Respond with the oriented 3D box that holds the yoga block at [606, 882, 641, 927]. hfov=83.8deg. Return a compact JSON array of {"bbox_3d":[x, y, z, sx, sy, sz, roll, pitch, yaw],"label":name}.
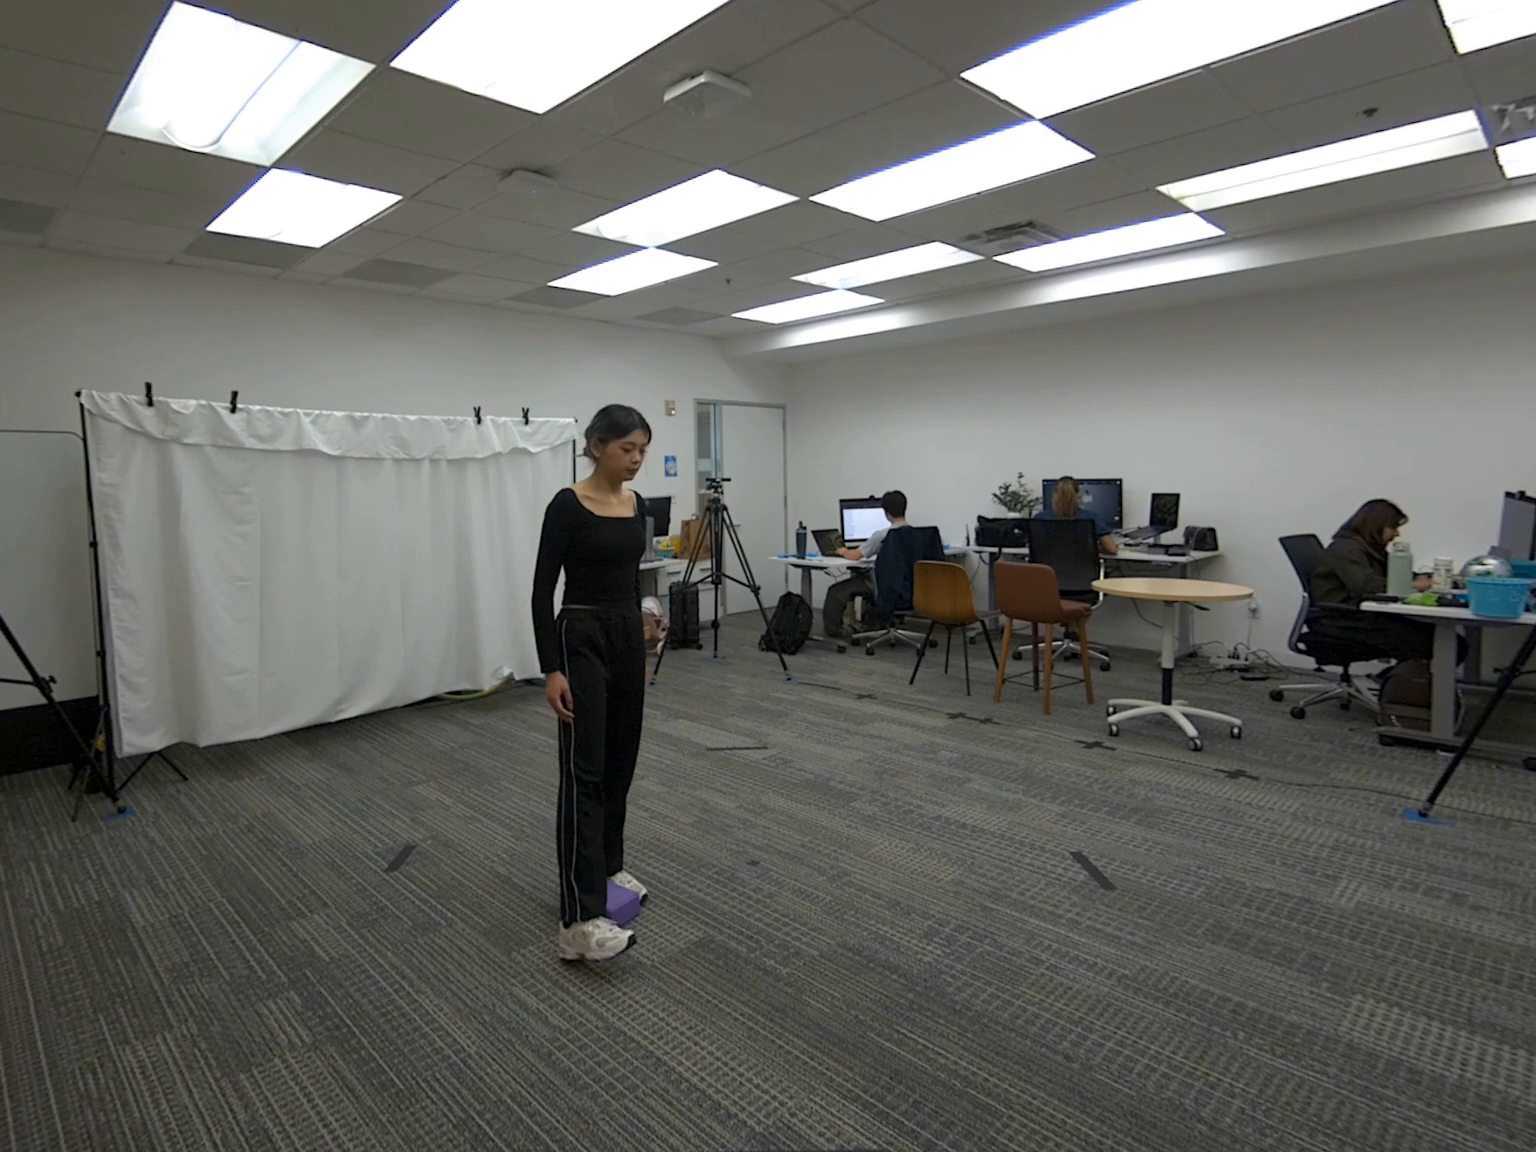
[{"bbox_3d":[-0.540,1.056,2.757,0.236,0.076,0.145,3,7,34],"label":"yoga block"}]
